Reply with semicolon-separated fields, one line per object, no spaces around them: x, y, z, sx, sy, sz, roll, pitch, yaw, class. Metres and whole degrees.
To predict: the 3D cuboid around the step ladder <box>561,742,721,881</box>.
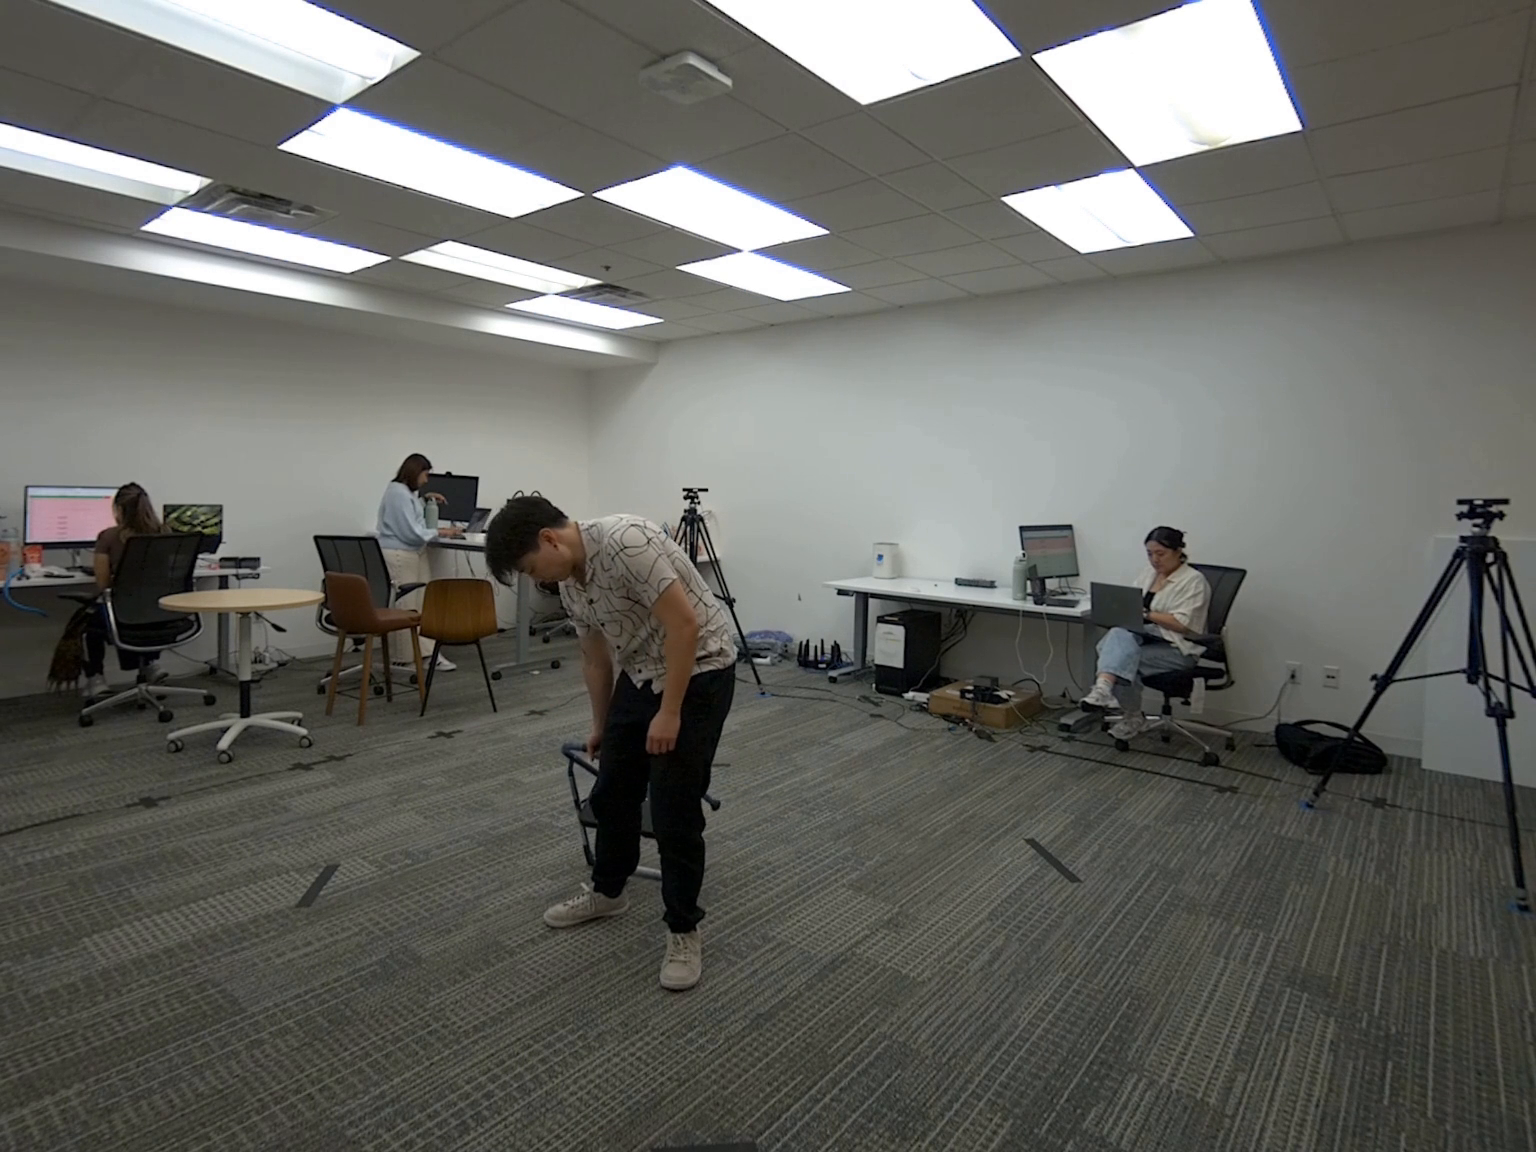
-0.493;0.736;2.998;0.440;0.585;0.354;2;40;19;step ladder
